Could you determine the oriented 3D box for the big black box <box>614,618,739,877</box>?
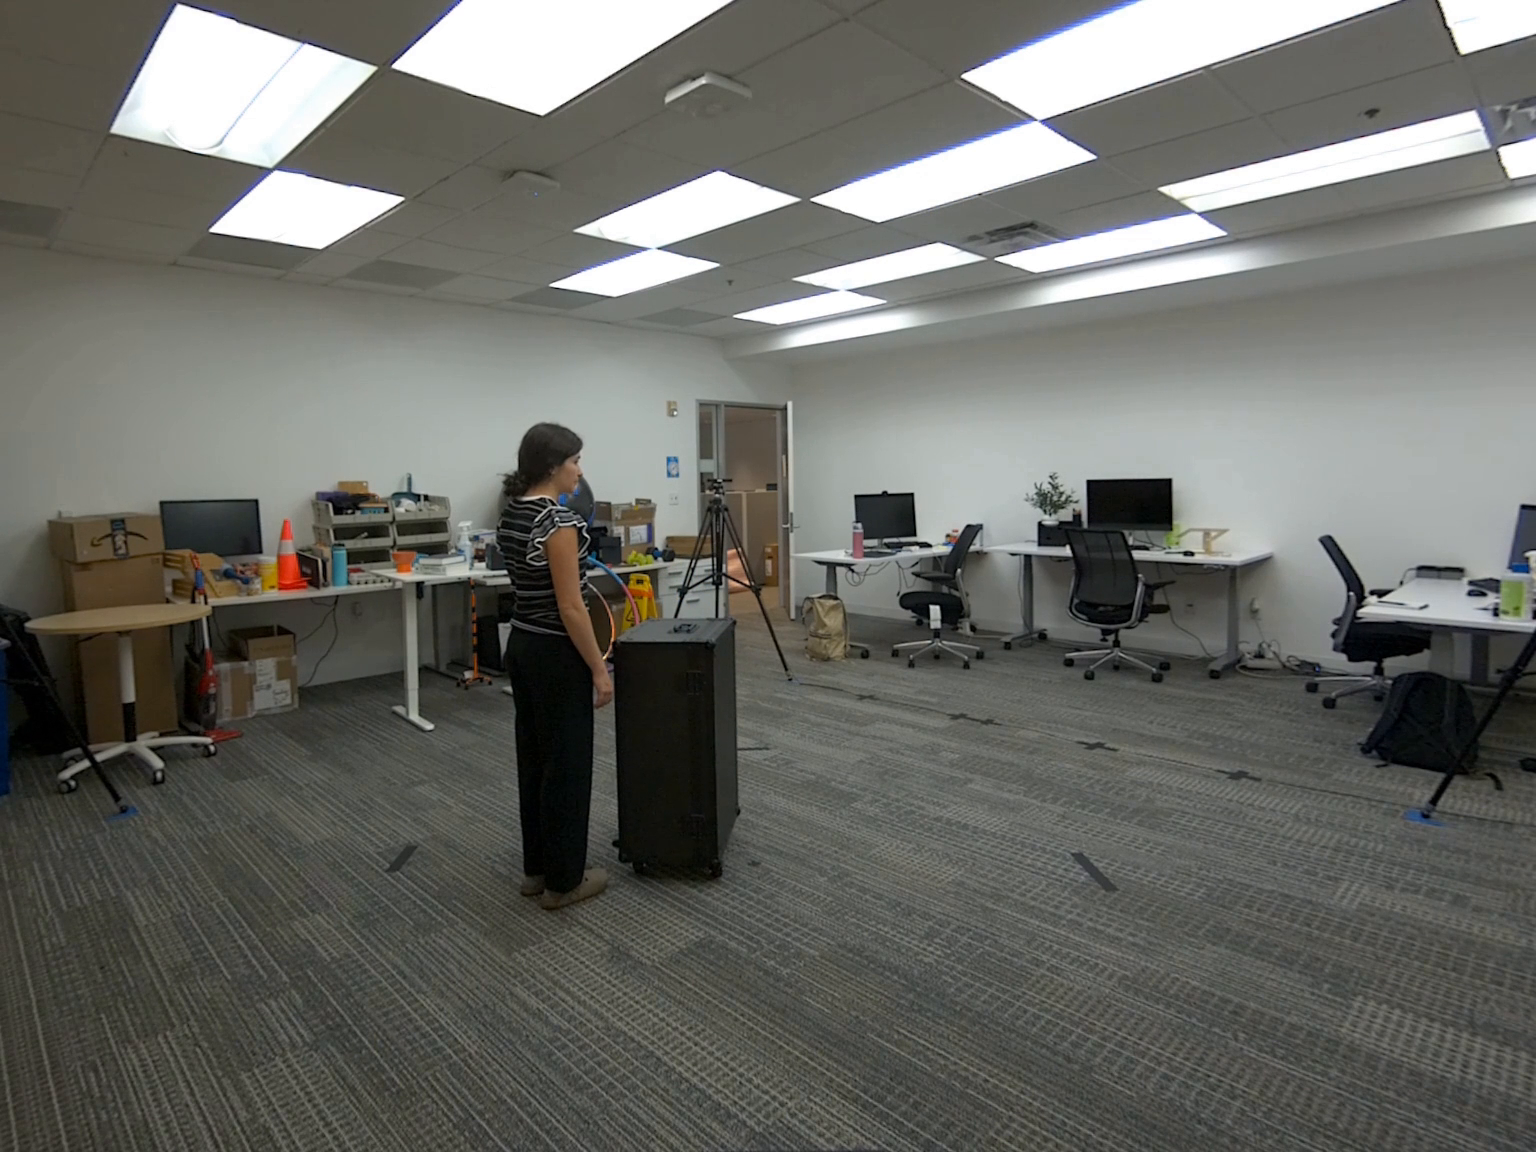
[{"bbox_3d":[-0.332,0.617,3.160,0.400,0.858,0.519,-1,5,9],"label":"big black box"}]
